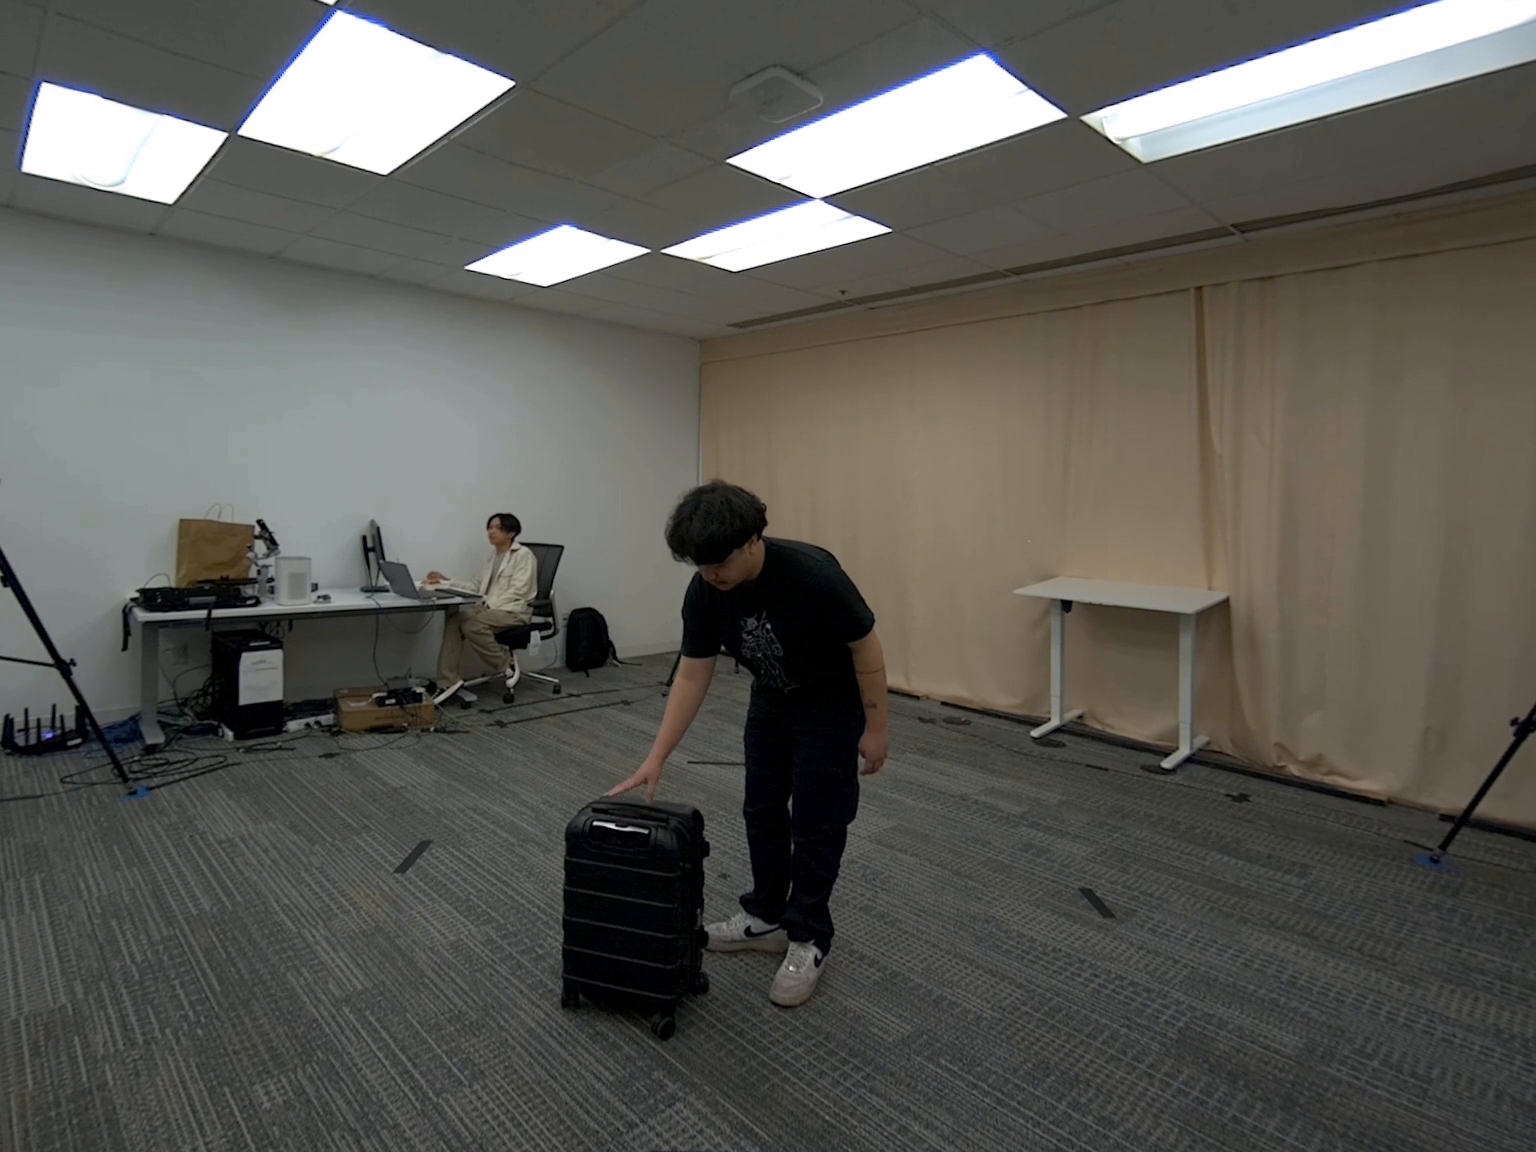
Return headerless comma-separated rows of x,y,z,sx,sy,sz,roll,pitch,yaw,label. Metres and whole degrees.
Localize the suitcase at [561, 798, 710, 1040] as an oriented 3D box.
-0.373,0.900,2.305,0.380,0.548,0.245,2,2,16,suitcase
